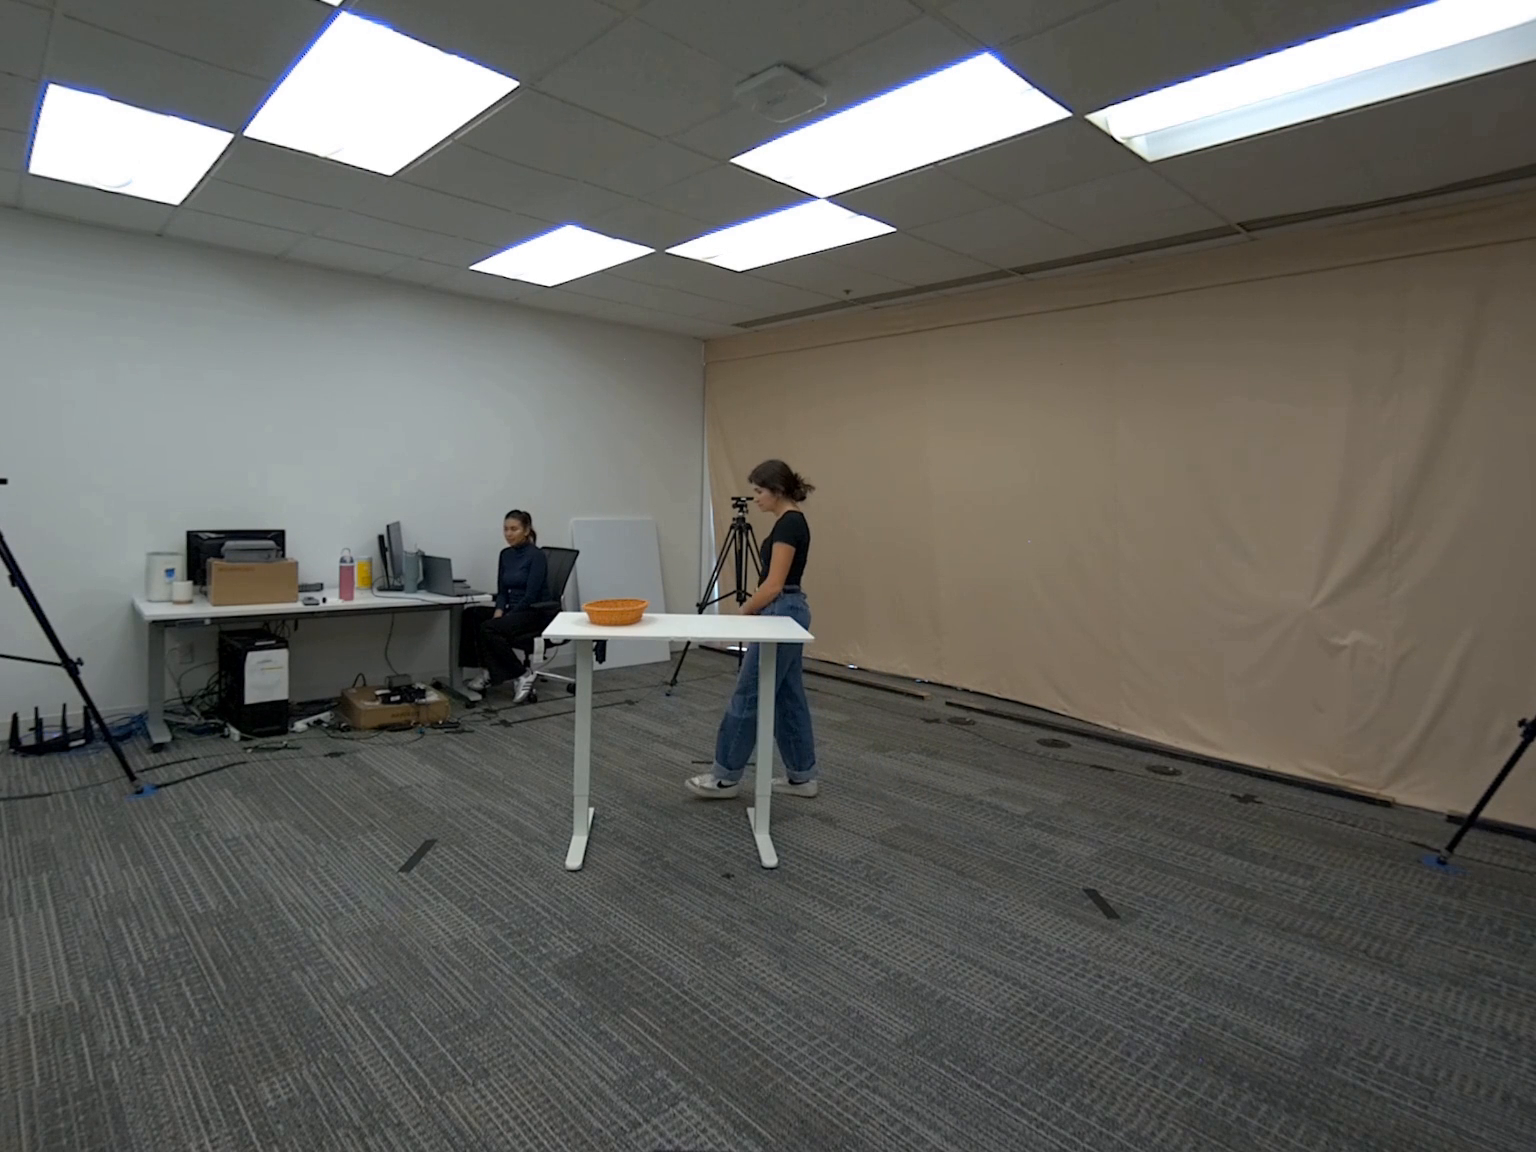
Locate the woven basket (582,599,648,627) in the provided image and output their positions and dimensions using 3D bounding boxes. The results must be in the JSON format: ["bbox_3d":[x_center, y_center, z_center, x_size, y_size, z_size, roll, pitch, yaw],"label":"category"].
[{"bbox_3d":[-0.635,0.154,3.428,0.255,0.073,0.348,2,5,10],"label":"woven basket"}]
